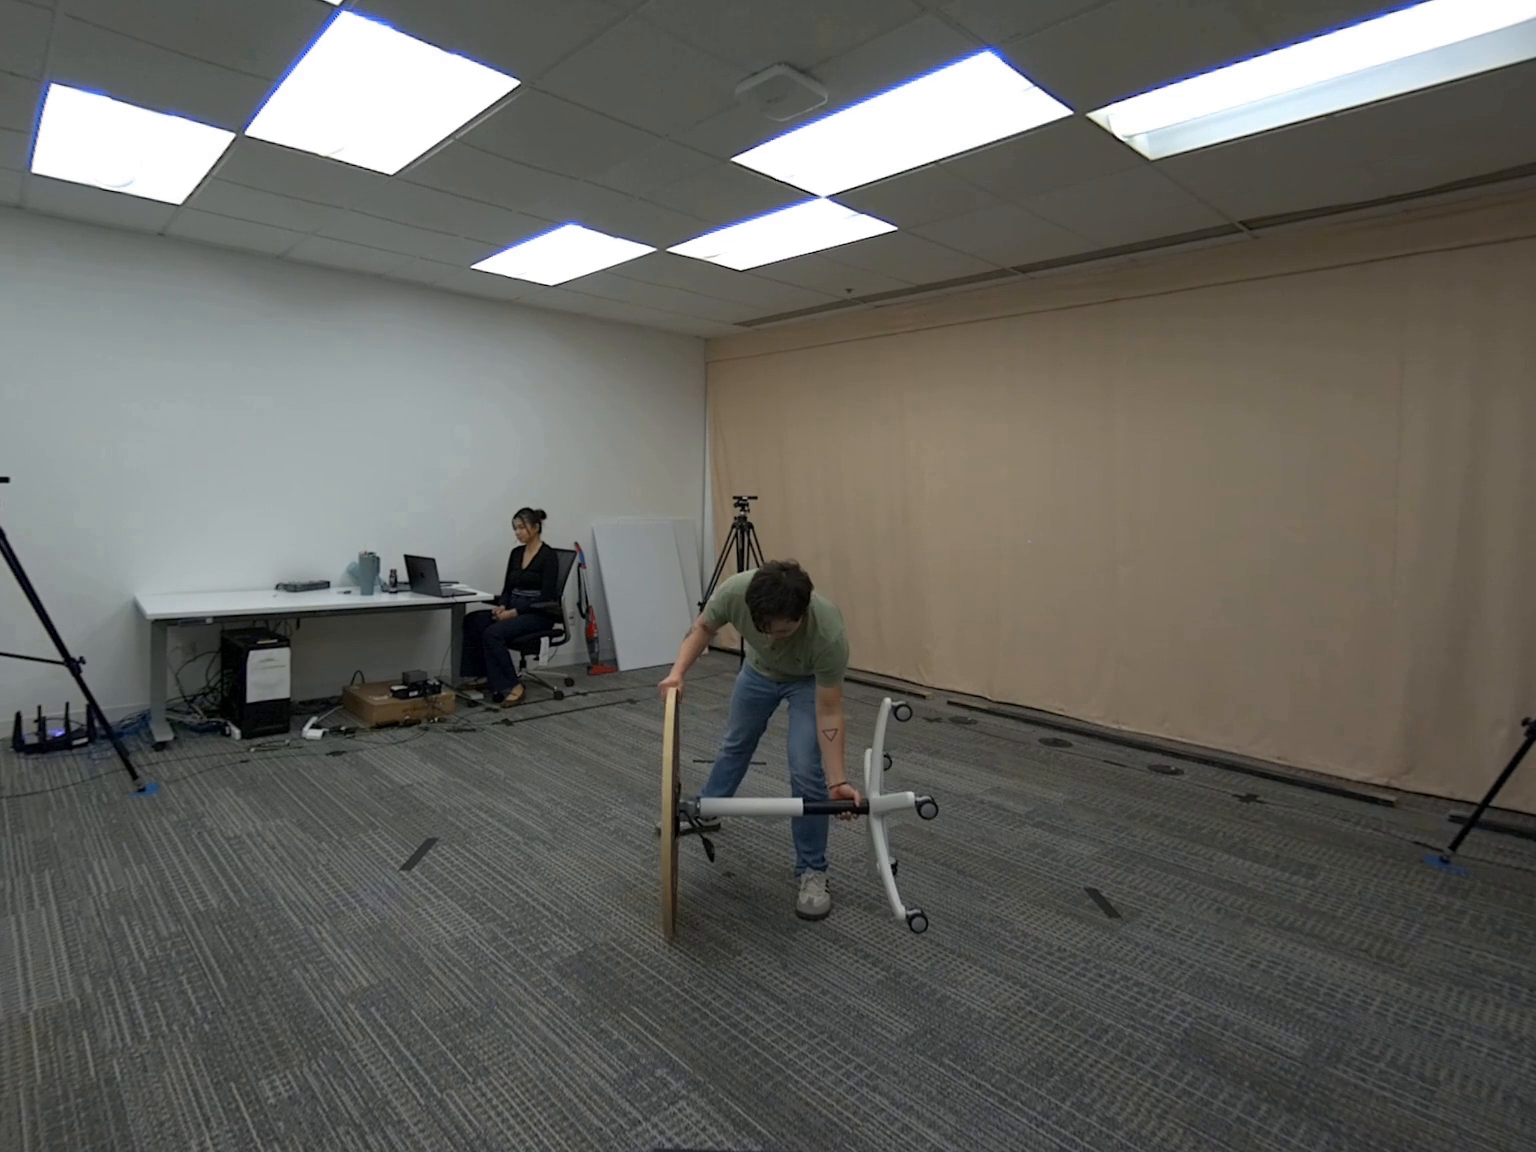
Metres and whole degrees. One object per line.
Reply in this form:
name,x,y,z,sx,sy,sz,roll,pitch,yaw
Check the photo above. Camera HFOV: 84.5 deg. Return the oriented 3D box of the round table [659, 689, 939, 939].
round table,0.068,0.754,2.730,0.792,0.762,0.768,0,4,-3
